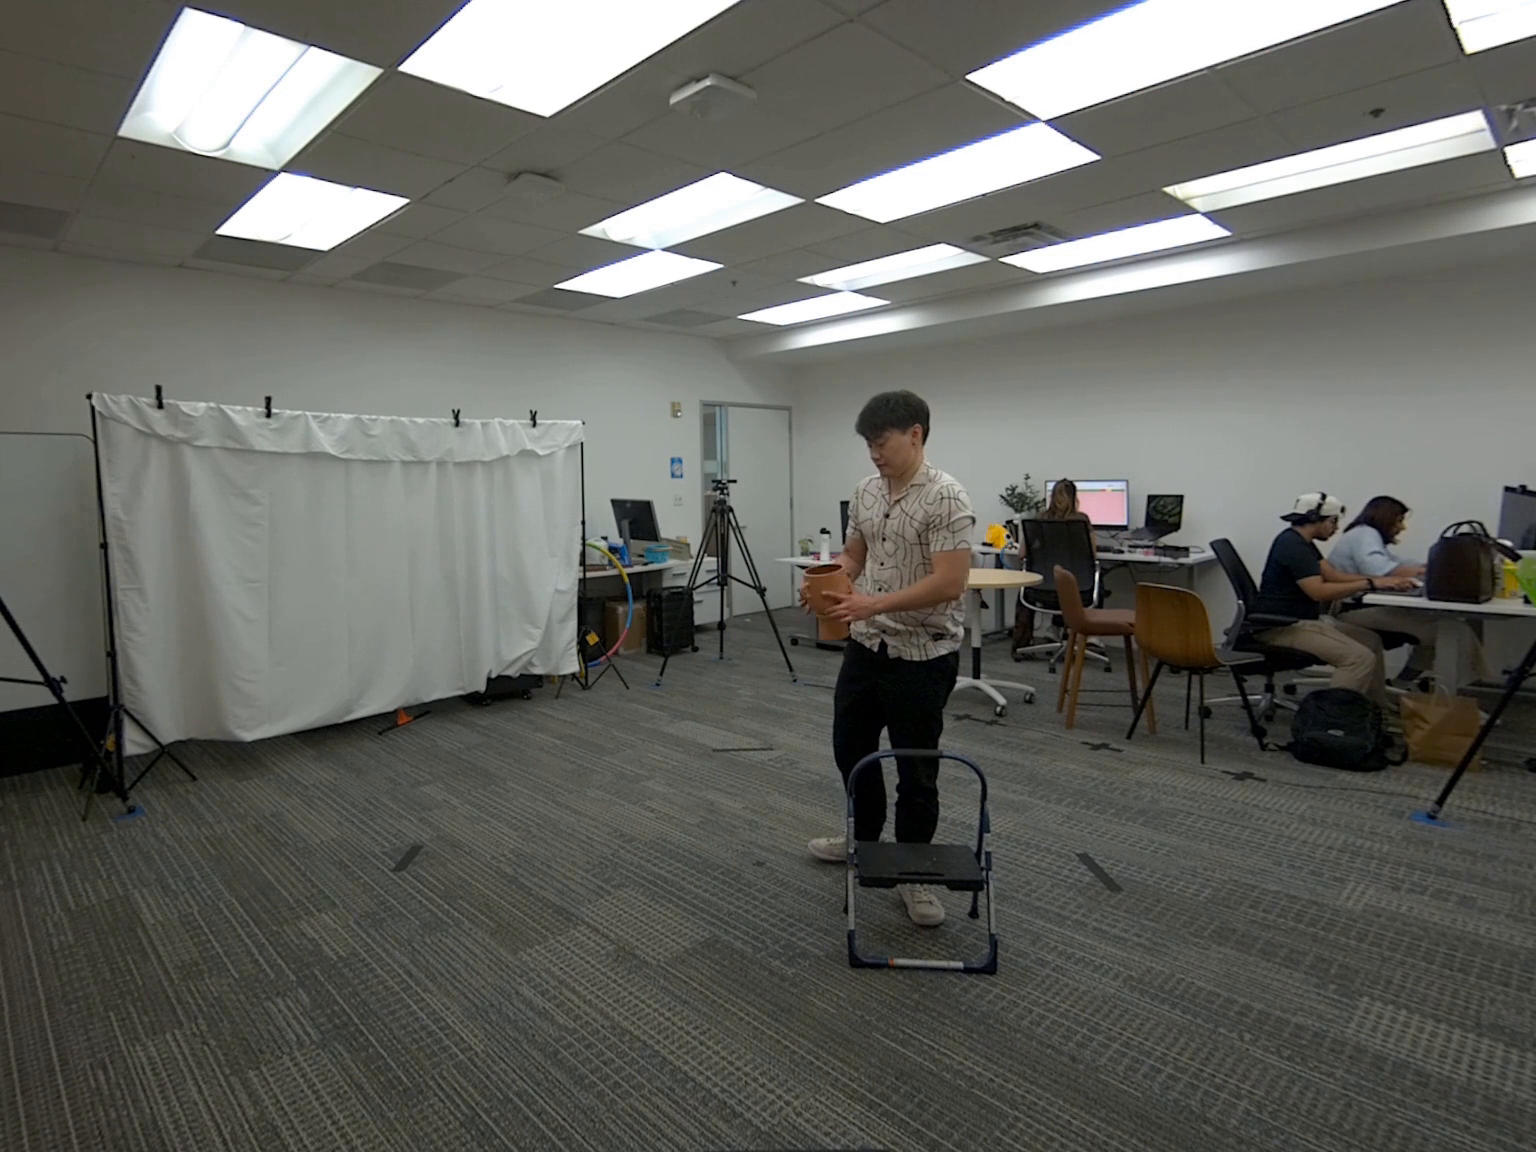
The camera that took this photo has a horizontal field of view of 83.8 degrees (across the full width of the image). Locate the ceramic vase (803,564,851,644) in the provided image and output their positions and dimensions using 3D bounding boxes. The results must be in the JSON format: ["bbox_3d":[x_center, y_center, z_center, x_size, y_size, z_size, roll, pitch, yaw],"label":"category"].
[{"bbox_3d":[0.196,0.087,2.678,0.160,0.217,0.135,-7,12,11],"label":"ceramic vase"}]
